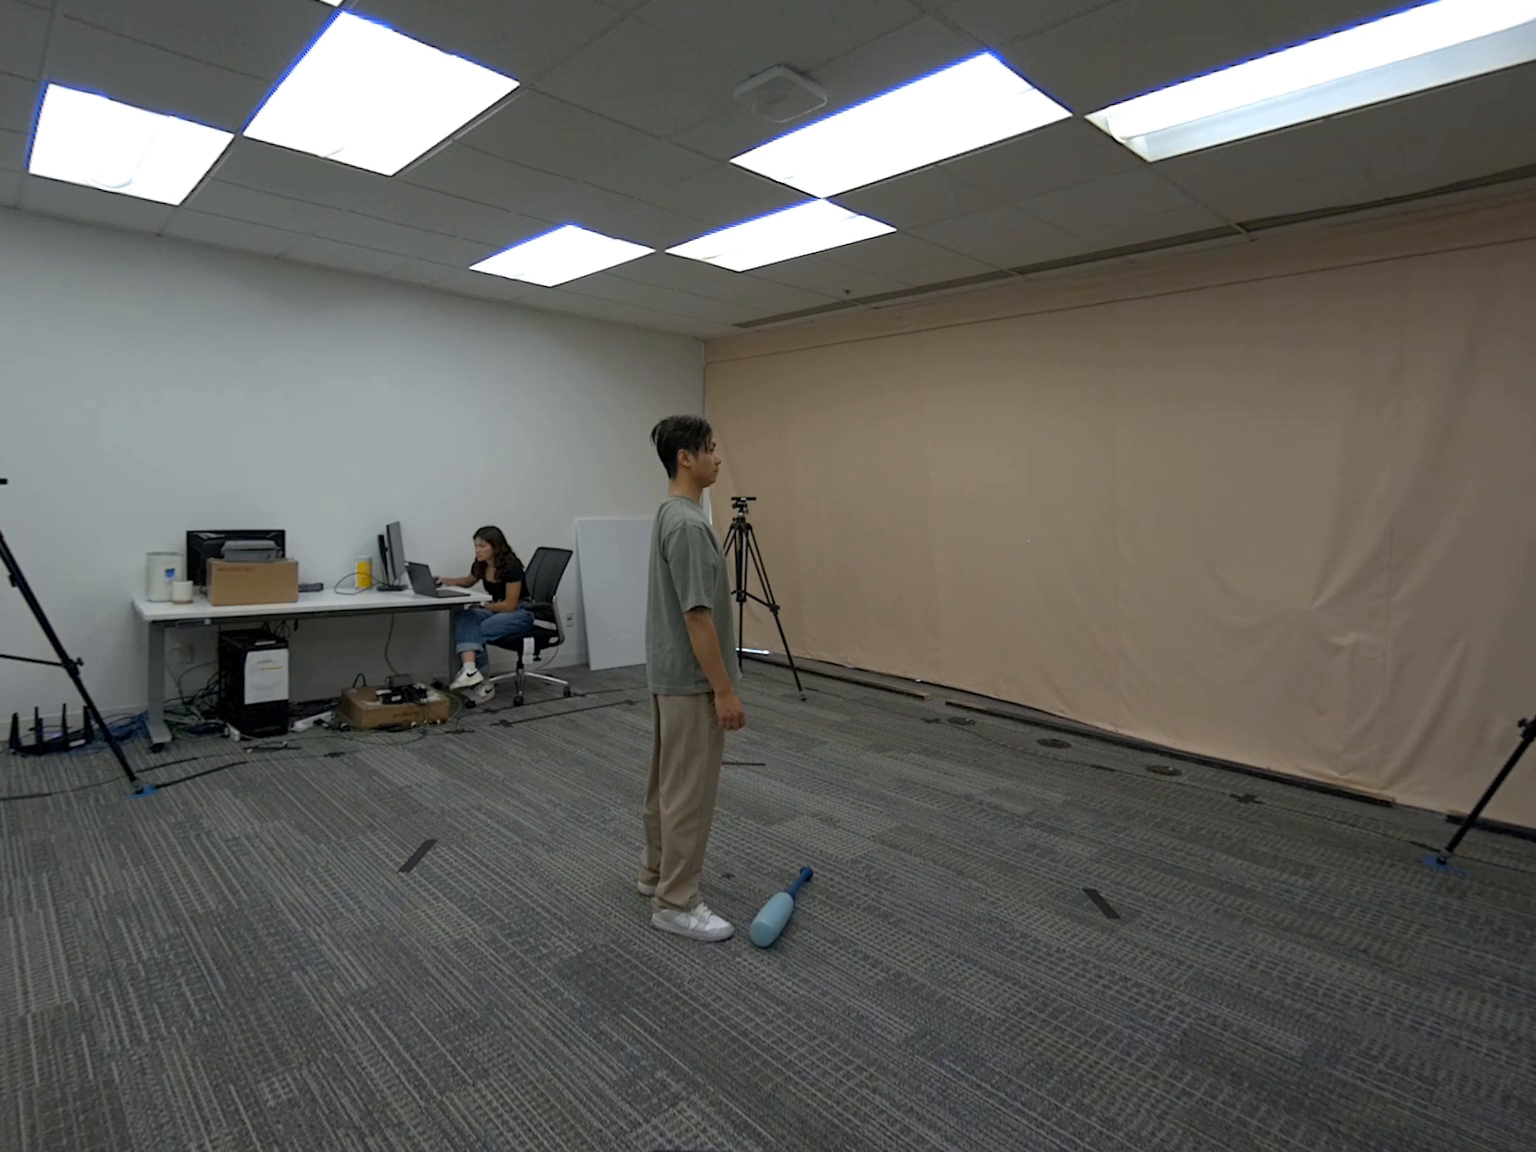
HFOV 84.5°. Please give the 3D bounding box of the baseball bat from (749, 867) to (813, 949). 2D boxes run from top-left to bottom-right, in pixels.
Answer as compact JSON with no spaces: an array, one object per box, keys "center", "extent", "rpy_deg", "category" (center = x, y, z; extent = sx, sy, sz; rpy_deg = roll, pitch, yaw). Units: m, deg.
[{"center":[0.050,1.094,2.839],"extent":[0.090,0.089,0.536],"rpy_deg":[3,3,17],"category":"baseball bat"}]
